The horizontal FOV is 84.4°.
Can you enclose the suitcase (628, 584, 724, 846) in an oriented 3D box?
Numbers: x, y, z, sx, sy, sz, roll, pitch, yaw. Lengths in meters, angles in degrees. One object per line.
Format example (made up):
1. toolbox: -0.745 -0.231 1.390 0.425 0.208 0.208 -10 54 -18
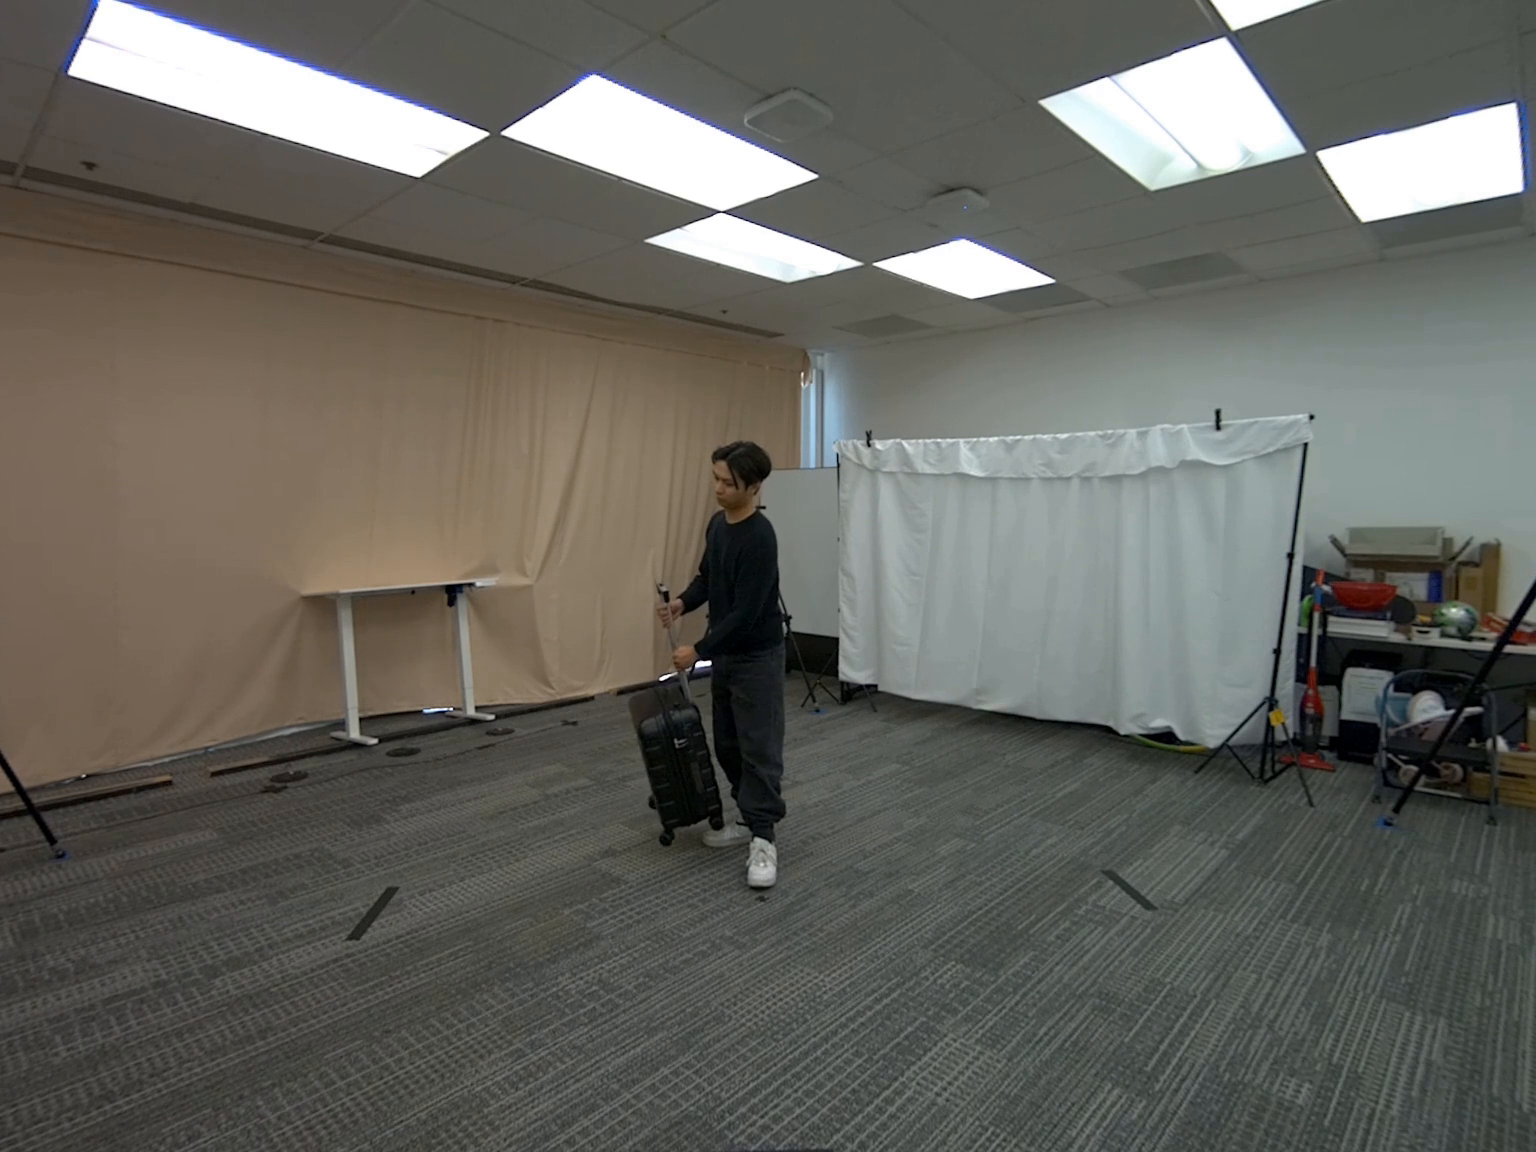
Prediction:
1. suitcase: -0.419 0.544 3.344 0.255 0.967 0.392 -14 15 -10
